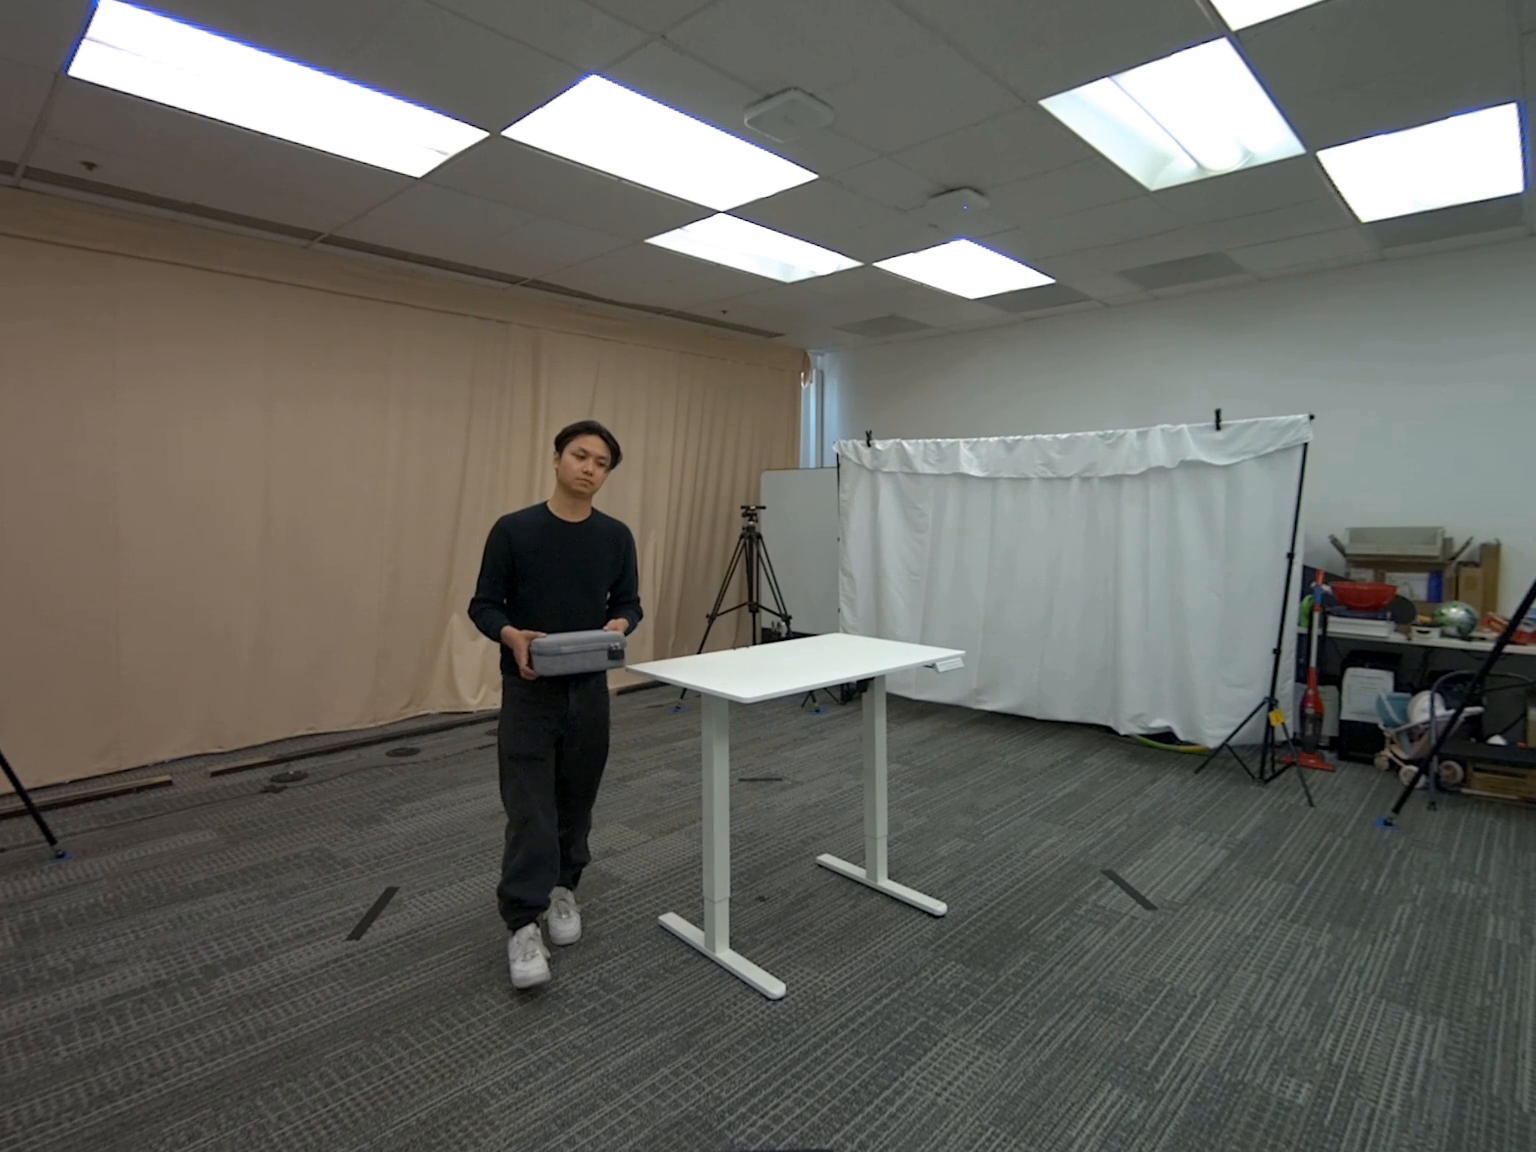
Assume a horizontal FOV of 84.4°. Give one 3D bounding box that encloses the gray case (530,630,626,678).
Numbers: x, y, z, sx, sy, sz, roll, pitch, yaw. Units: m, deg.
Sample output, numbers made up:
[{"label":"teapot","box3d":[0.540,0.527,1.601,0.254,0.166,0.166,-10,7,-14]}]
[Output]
[{"label":"gray case","box3d":[-0.557,0.216,2.454,0.254,0.104,0.264,-4,0,-13]}]
